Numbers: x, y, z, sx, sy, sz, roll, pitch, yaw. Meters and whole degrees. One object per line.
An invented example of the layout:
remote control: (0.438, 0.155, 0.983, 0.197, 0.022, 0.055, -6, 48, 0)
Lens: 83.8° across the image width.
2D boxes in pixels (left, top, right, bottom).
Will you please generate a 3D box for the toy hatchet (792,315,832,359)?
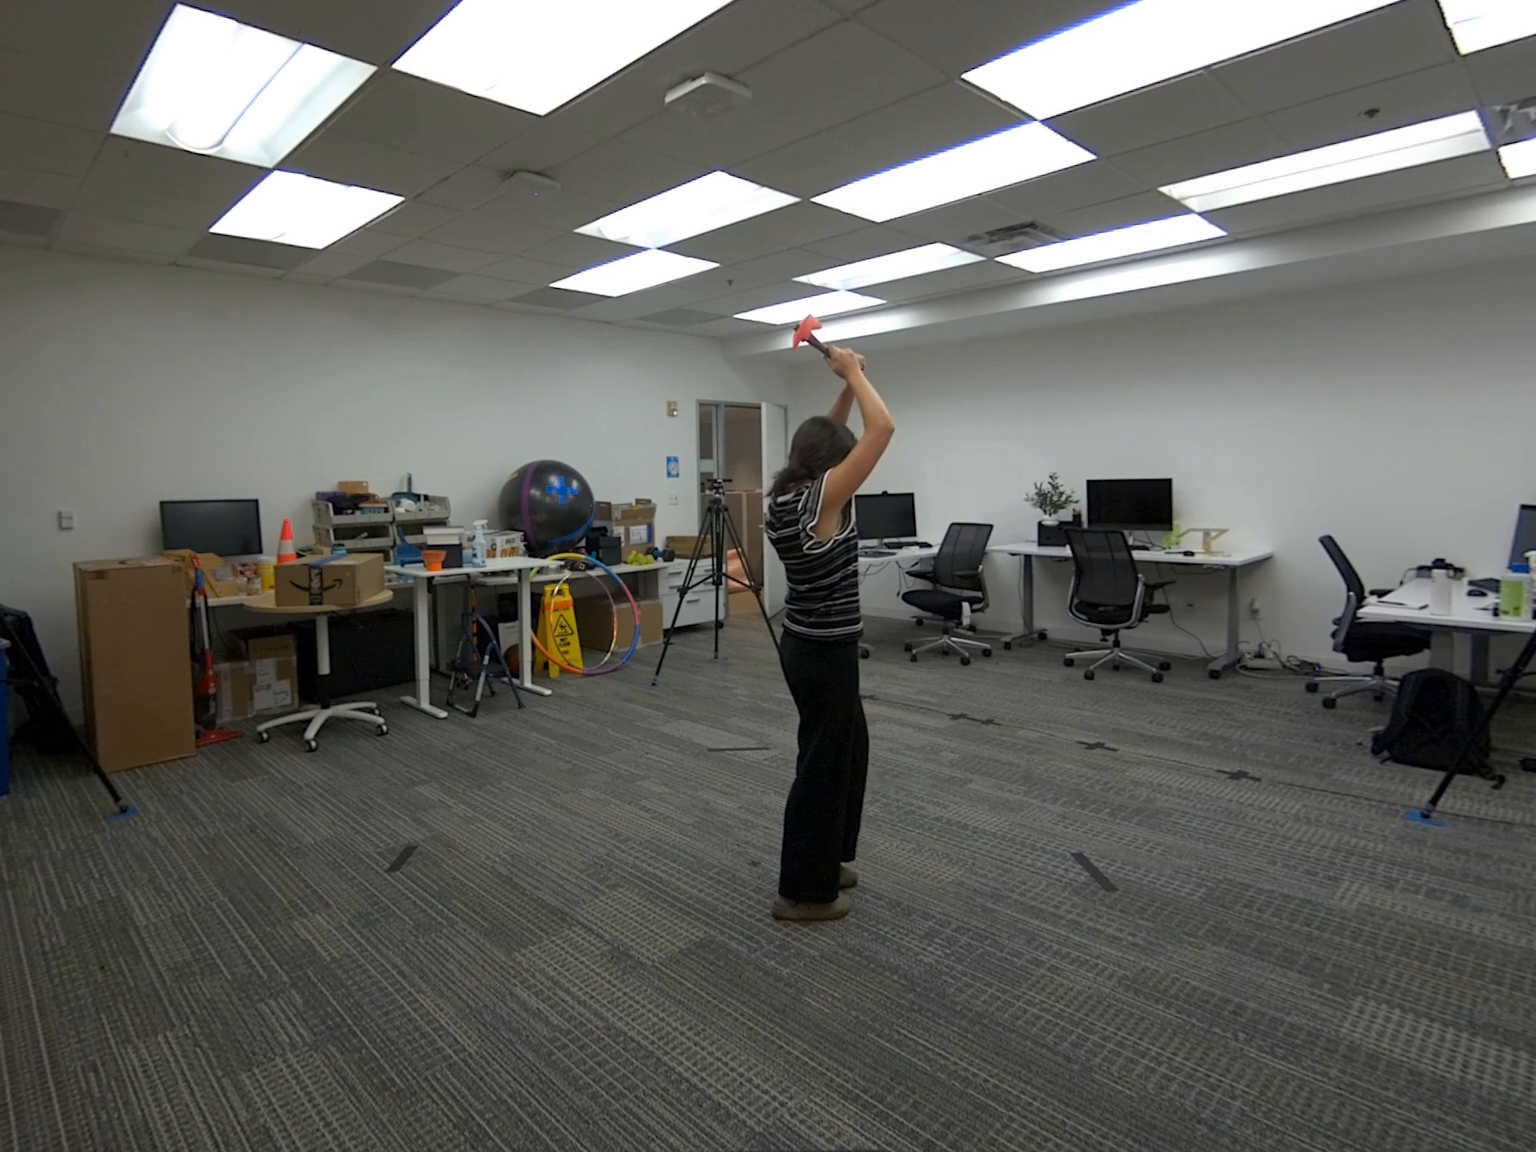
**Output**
toy hatchet: (0.208, -0.739, 2.681, 0.263, 0.132, 0.030, 10, -7, -25)
